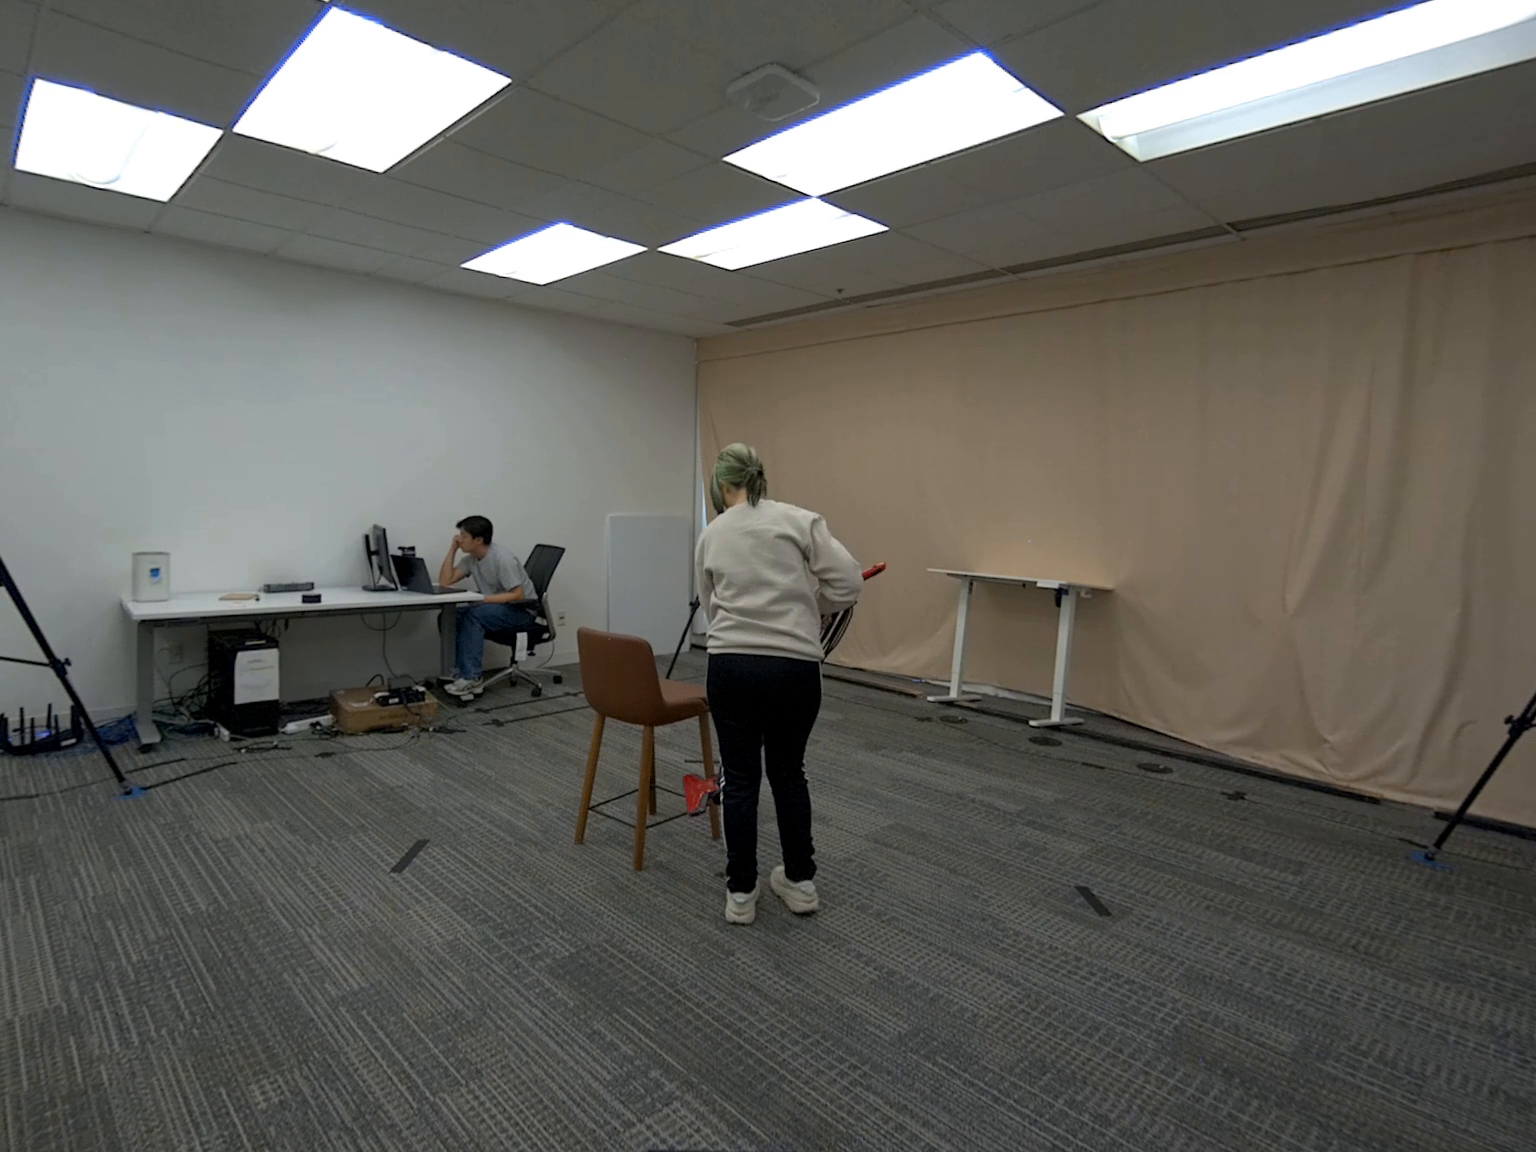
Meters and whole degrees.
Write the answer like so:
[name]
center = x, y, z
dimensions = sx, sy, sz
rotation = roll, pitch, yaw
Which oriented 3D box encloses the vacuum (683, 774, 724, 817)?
[vacuum]
center = 0.081, 0.380, 3.000
dimensions = 0.140, 1.049, 0.260
rotation = 34, 5, -35
